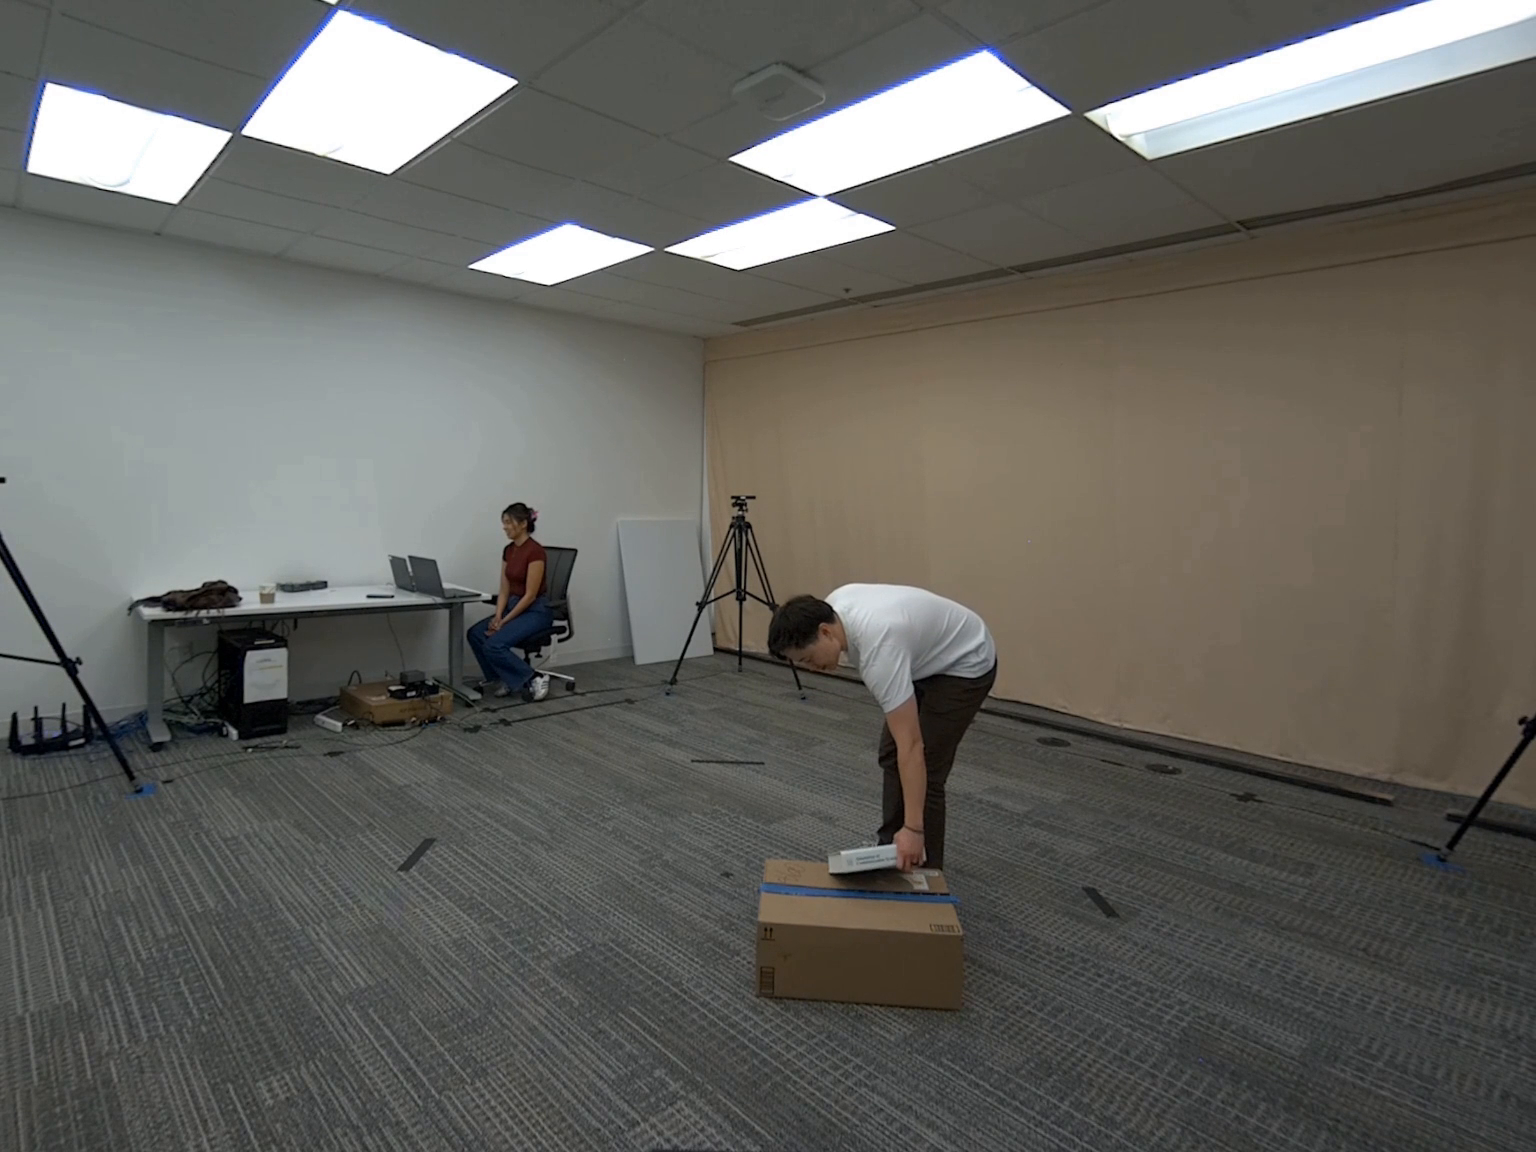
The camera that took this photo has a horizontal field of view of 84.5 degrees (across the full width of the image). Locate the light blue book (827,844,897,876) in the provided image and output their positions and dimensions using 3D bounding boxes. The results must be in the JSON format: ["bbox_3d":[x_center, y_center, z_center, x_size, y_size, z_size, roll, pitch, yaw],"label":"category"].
[{"bbox_3d":[0.326,0.881,2.609,0.259,0.060,0.190,-2,-19,-10],"label":"light blue book"}]
